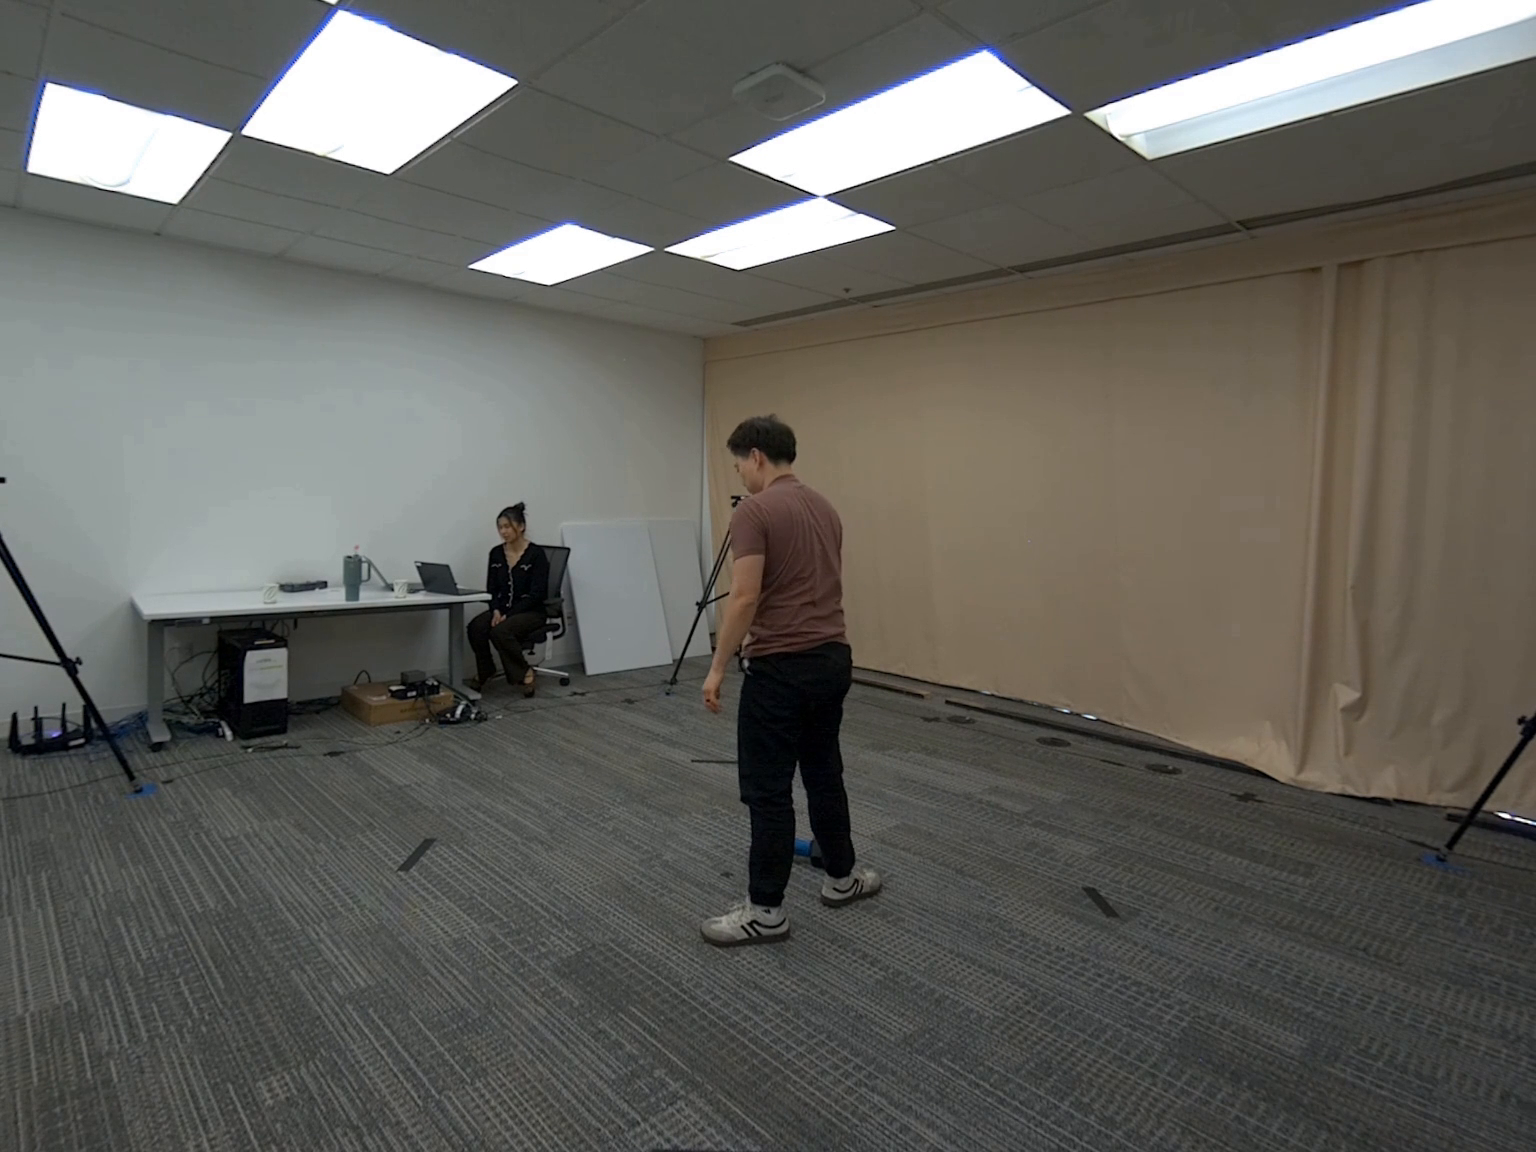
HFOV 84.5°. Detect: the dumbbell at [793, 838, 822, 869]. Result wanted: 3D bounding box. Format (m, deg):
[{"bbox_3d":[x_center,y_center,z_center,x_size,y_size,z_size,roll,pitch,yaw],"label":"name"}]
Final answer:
[{"bbox_3d":[0.104,1.045,3.233,0.298,0.120,0.110,2,34,17],"label":"dumbbell"}]
